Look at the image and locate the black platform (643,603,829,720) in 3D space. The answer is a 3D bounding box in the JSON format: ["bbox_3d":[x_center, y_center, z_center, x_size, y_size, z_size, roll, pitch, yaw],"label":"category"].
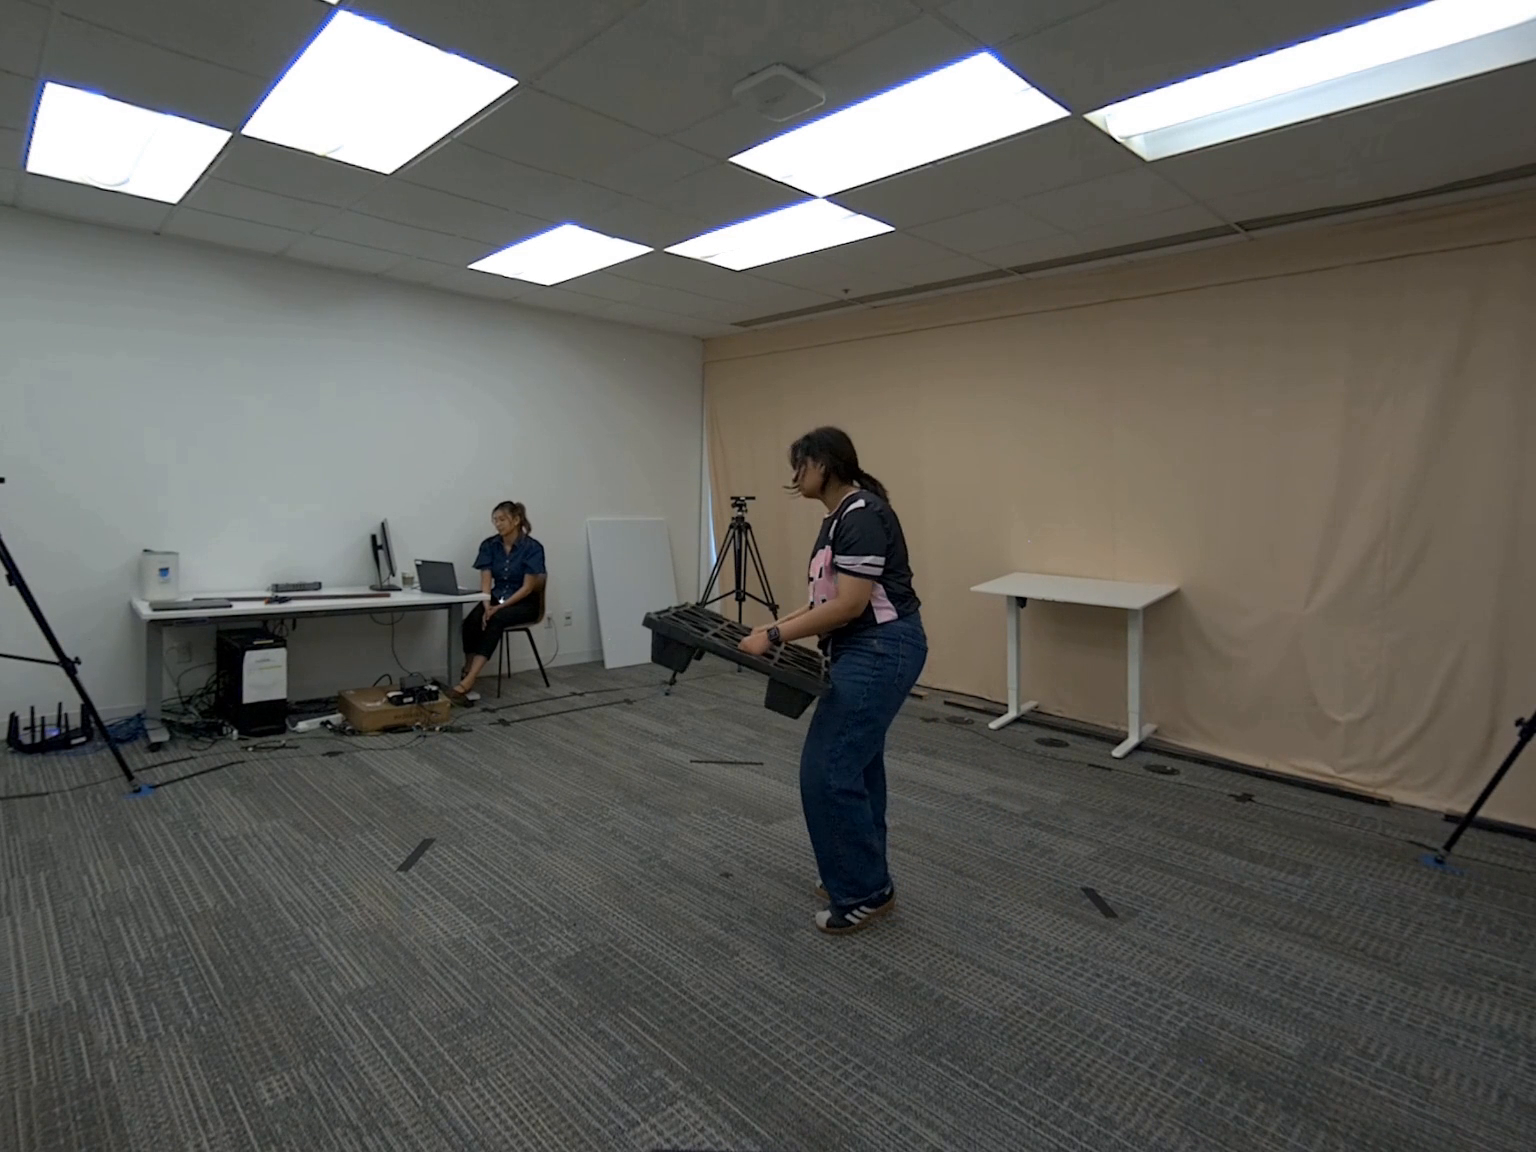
[{"bbox_3d":[-0.100,0.287,2.872,0.610,0.143,0.800,21,3,6],"label":"black platform"}]
